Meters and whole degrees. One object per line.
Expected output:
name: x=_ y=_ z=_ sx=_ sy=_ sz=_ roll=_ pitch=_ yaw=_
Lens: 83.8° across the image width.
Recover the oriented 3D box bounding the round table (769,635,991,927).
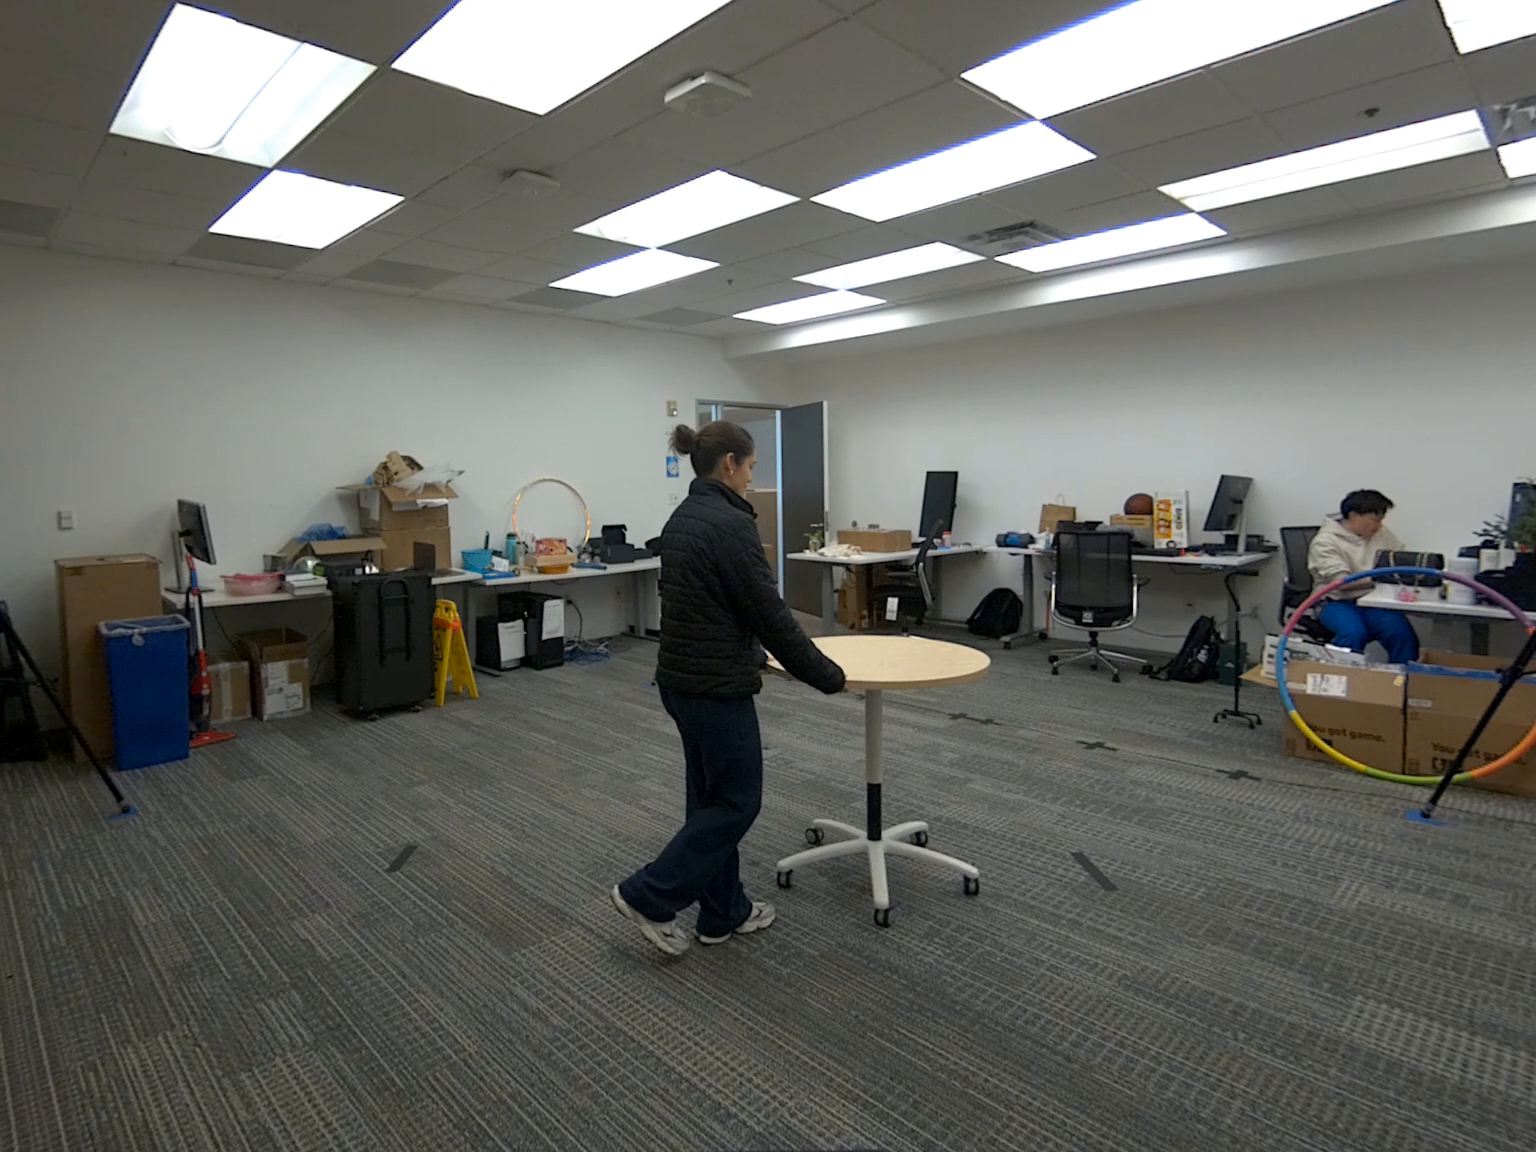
round table: x=0.350 y=0.659 z=2.974 sx=0.784 sy=0.783 sz=0.789 roll=-1 pitch=5 yaw=-2
